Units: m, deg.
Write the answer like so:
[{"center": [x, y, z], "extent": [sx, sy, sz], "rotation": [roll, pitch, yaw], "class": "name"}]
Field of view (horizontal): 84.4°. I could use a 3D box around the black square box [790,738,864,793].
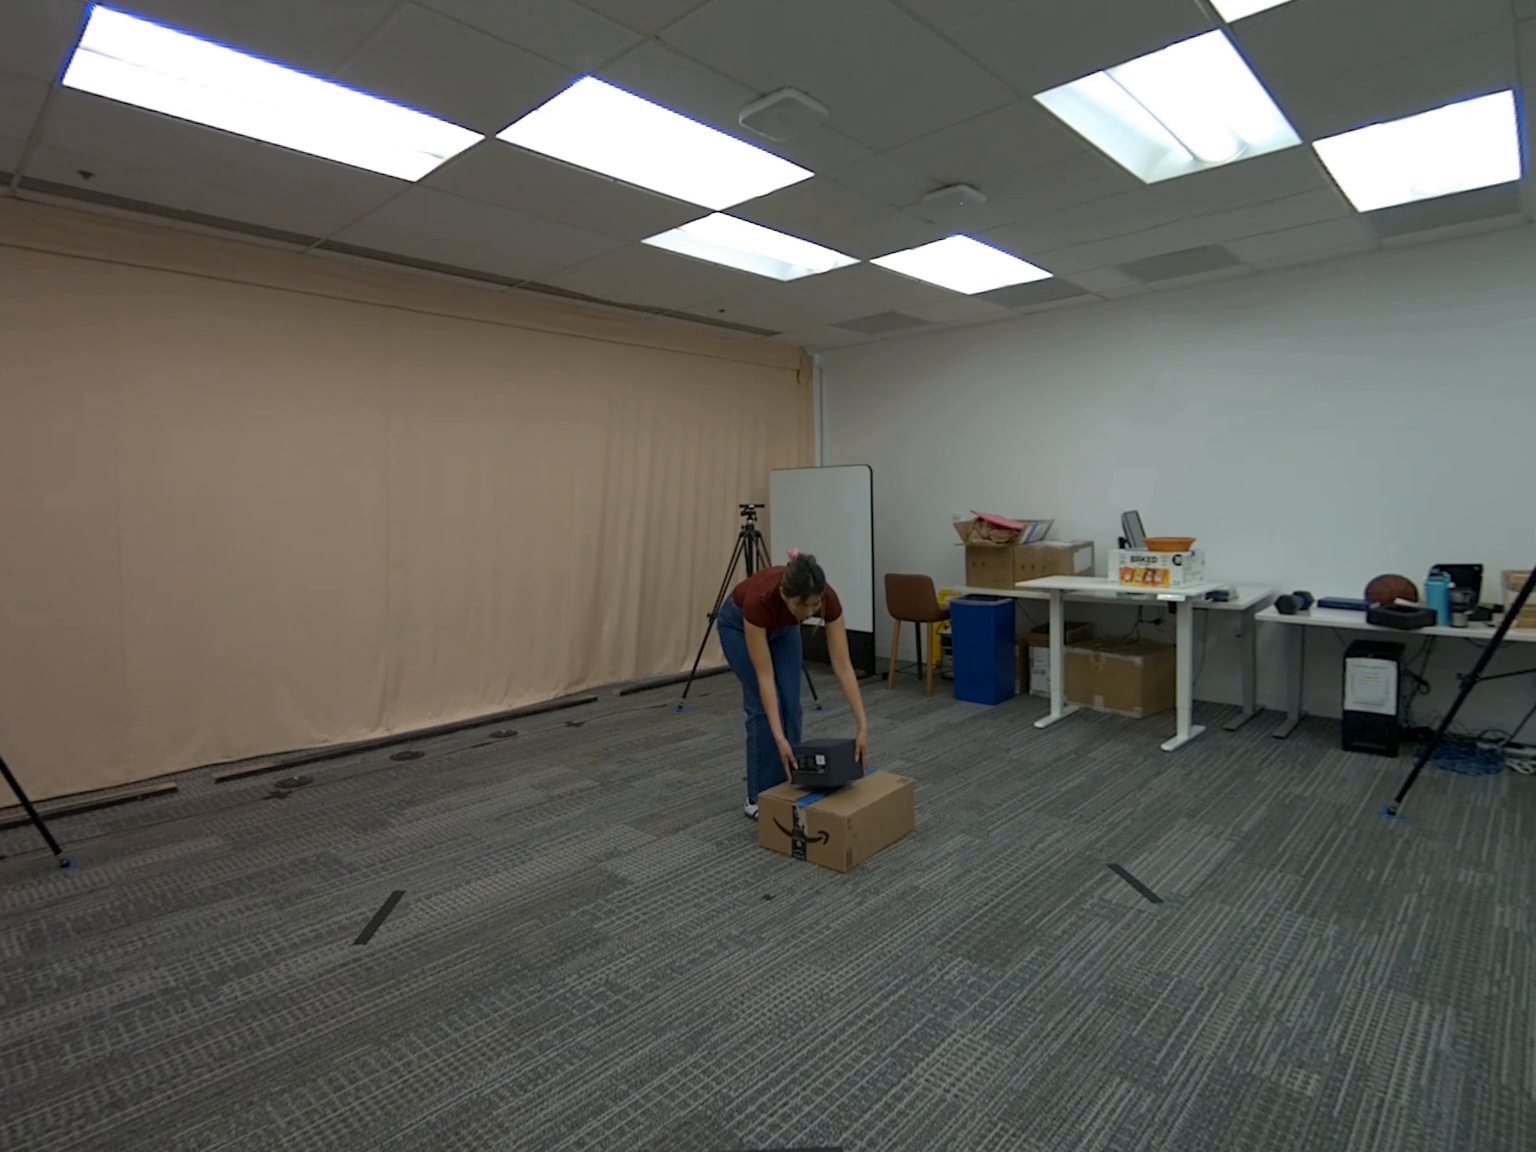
[{"center": [0.237, 0.756, 3.469], "extent": [0.223, 0.157, 0.220], "rotation": [-11, -8, 41], "class": "black square box"}]
